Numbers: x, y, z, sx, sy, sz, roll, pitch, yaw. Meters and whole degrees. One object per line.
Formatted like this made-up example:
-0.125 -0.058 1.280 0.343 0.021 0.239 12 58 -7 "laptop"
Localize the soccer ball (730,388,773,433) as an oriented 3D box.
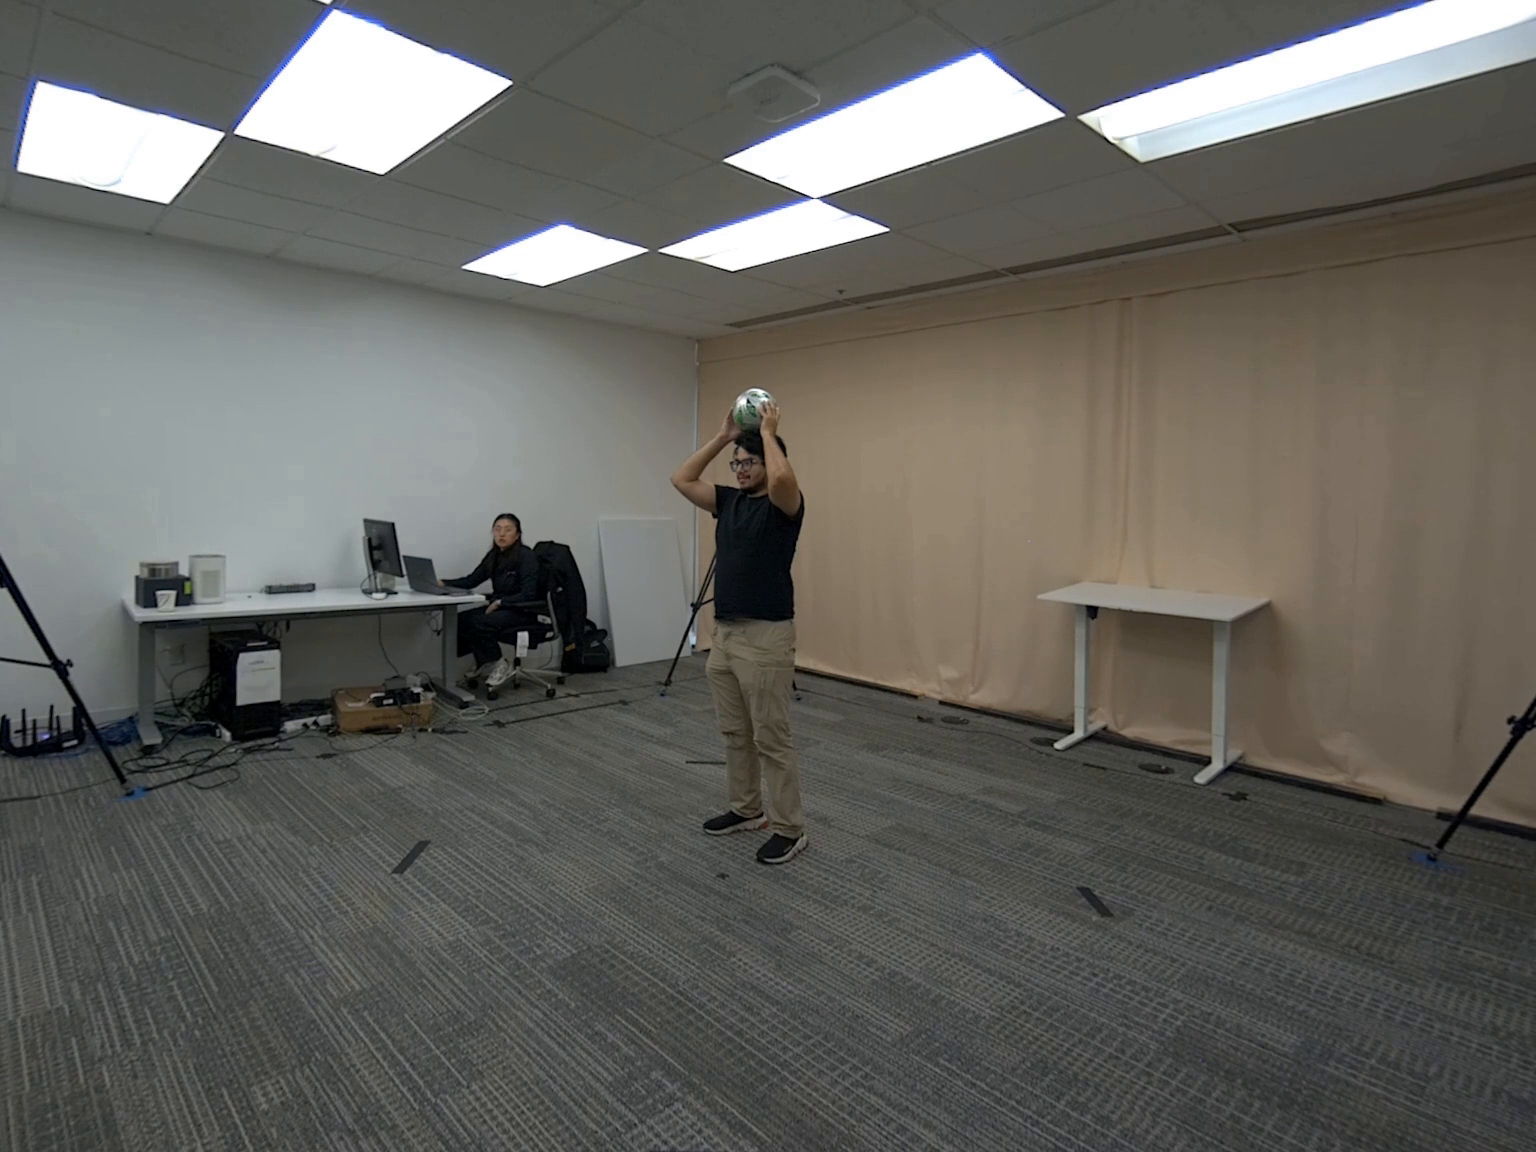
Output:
-0.057 -0.657 3.392 0.187 0.187 0.188 1 4 -1 "soccer ball"
